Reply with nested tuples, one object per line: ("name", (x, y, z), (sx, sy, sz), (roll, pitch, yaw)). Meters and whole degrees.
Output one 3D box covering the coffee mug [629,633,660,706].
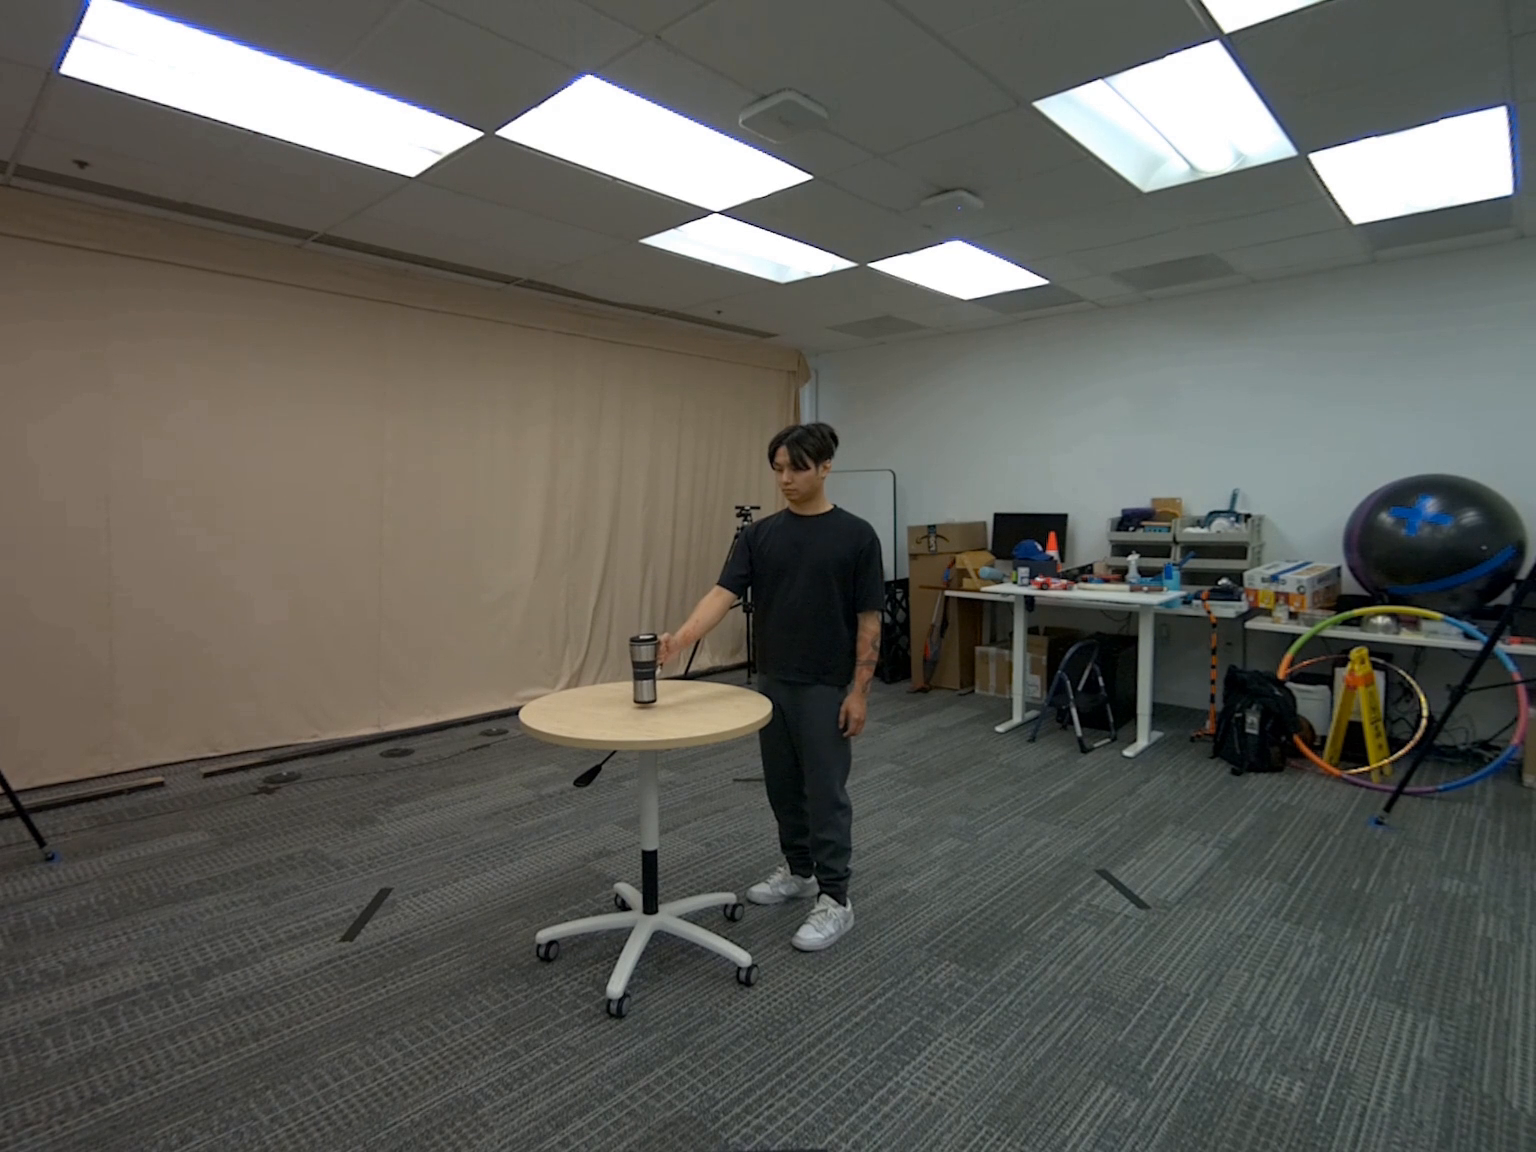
("coffee mug", (-0.359, 0.283, 2.555), (0.119, 0.203, 0.090), (-5, 2, -31))
